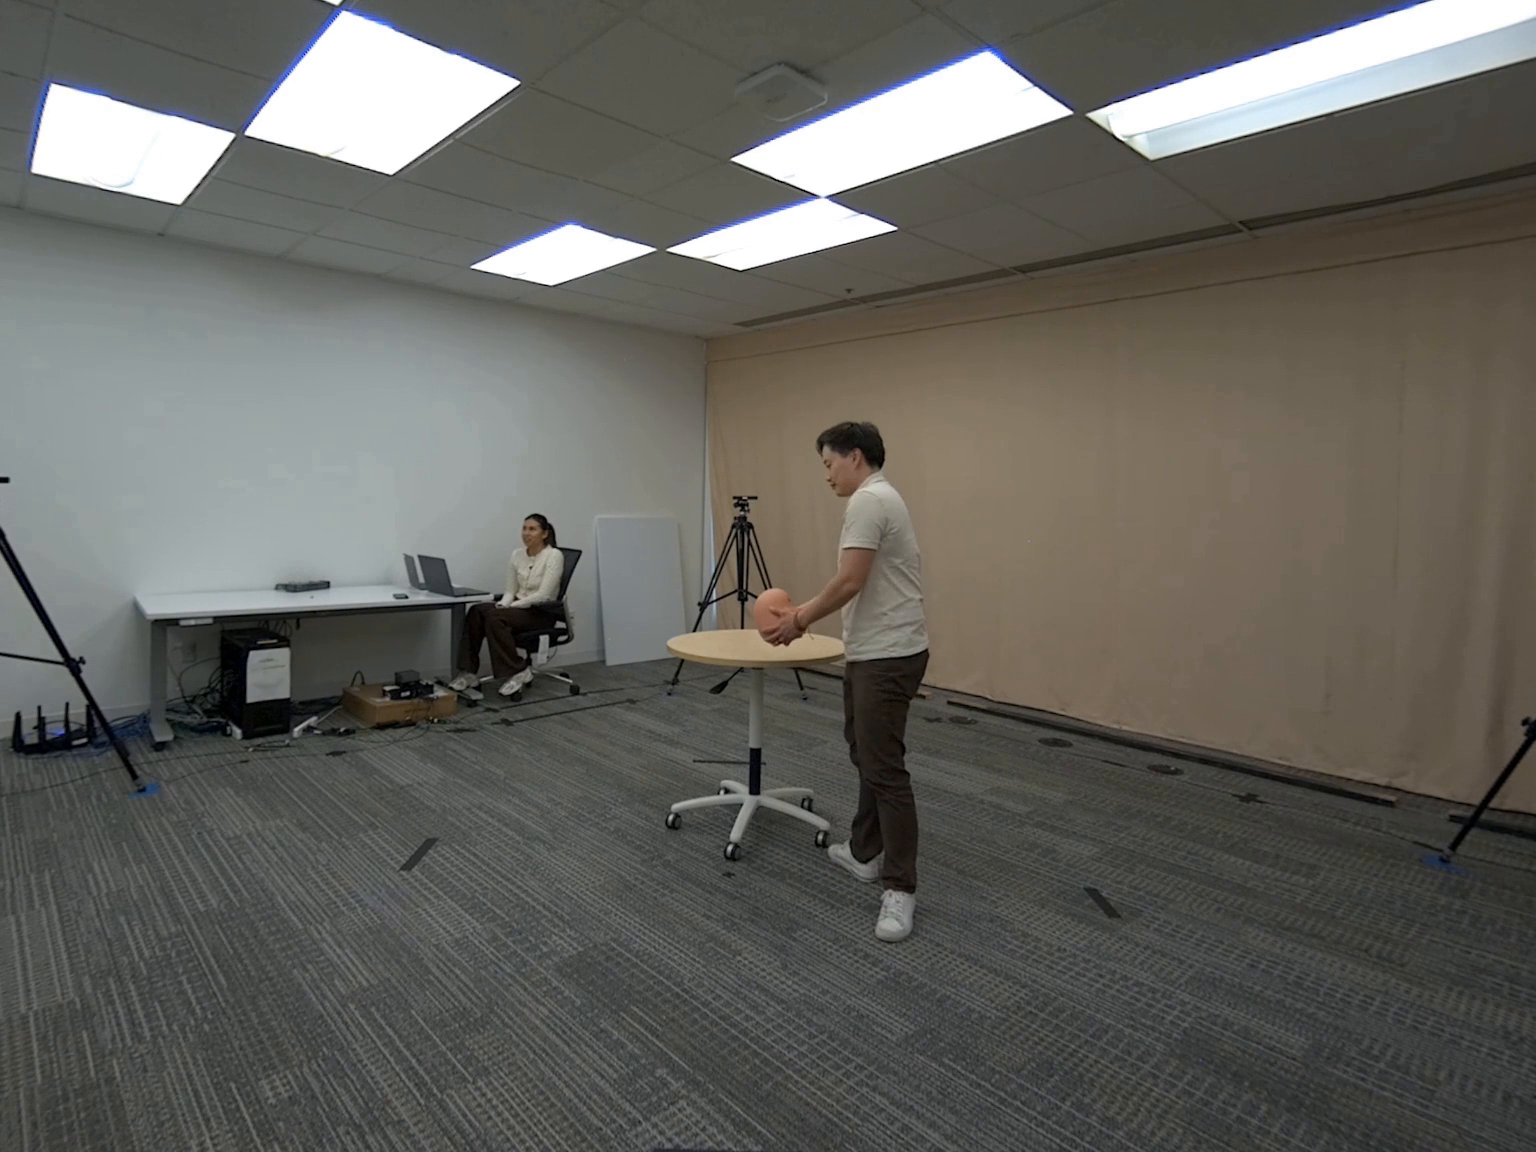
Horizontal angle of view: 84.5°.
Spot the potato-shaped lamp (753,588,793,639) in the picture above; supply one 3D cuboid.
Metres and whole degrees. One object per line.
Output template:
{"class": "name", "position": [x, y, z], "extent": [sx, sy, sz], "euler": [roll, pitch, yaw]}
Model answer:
{"class": "potato-shaped lamp", "position": [0.034, 0.144, 3.032], "extent": [0.162, 0.198, 0.174], "euler": [-16, 2, -30]}
